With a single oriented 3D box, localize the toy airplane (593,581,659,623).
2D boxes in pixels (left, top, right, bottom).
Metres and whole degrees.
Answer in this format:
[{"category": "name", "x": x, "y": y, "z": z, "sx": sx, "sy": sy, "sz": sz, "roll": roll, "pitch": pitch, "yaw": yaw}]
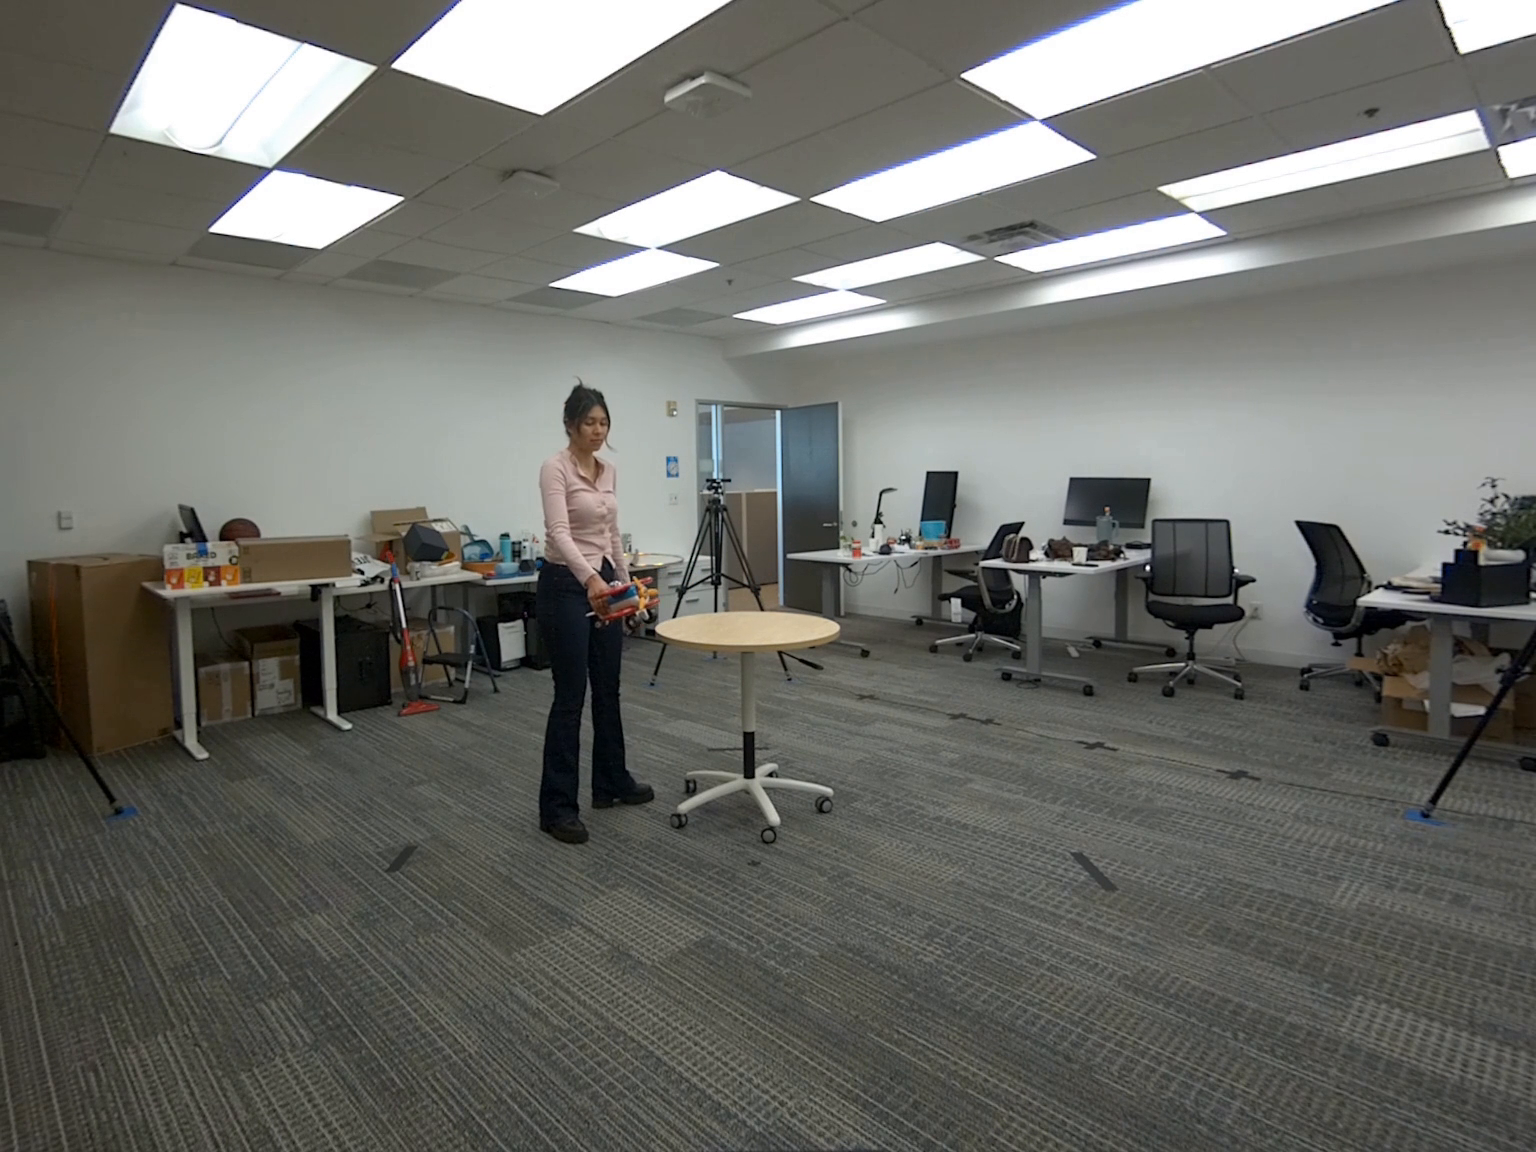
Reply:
[{"category": "toy airplane", "x": -0.512, "y": 0.104, "z": 2.941, "sx": 0.261, "sy": 0.155, "sz": 0.251, "roll": -6, "pitch": 8, "yaw": 7}]
